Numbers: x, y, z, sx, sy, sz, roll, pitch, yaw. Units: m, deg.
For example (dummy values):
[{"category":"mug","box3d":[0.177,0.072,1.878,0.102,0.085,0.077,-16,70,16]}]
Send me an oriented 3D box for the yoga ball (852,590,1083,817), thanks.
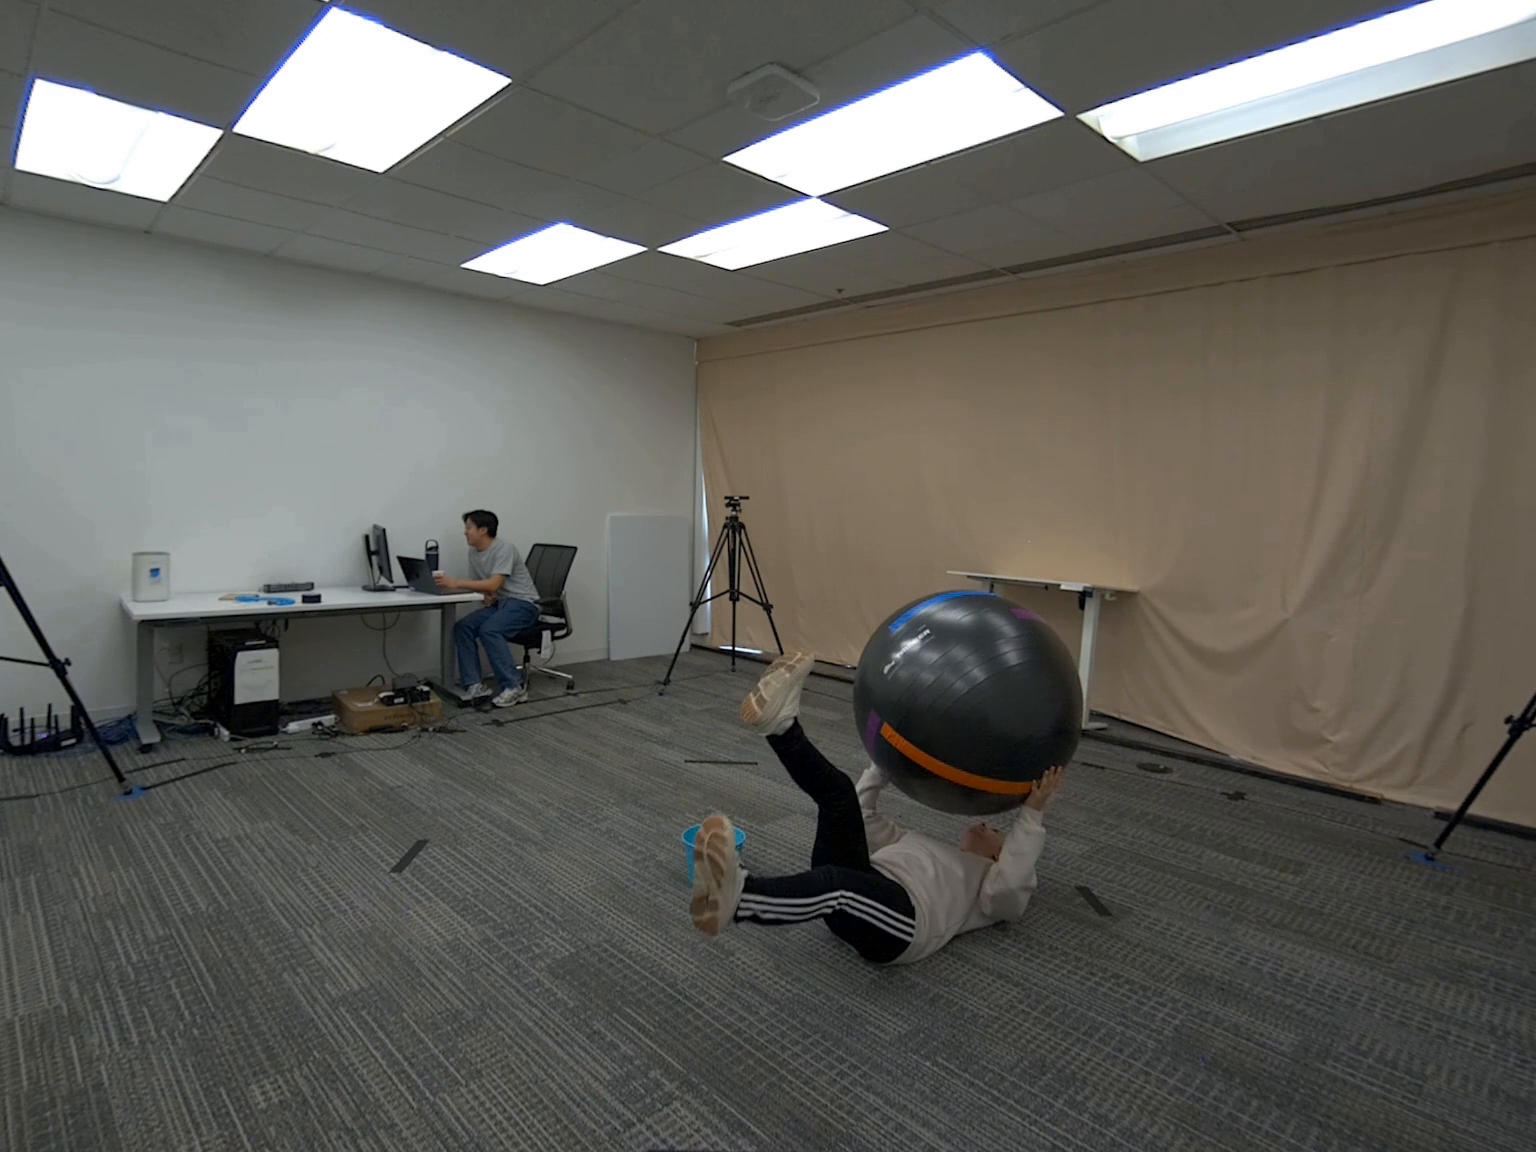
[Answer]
[{"category":"yoga ball","box3d":[0.680,0.427,2.884,0.757,0.756,0.761,1,4,-1]}]
